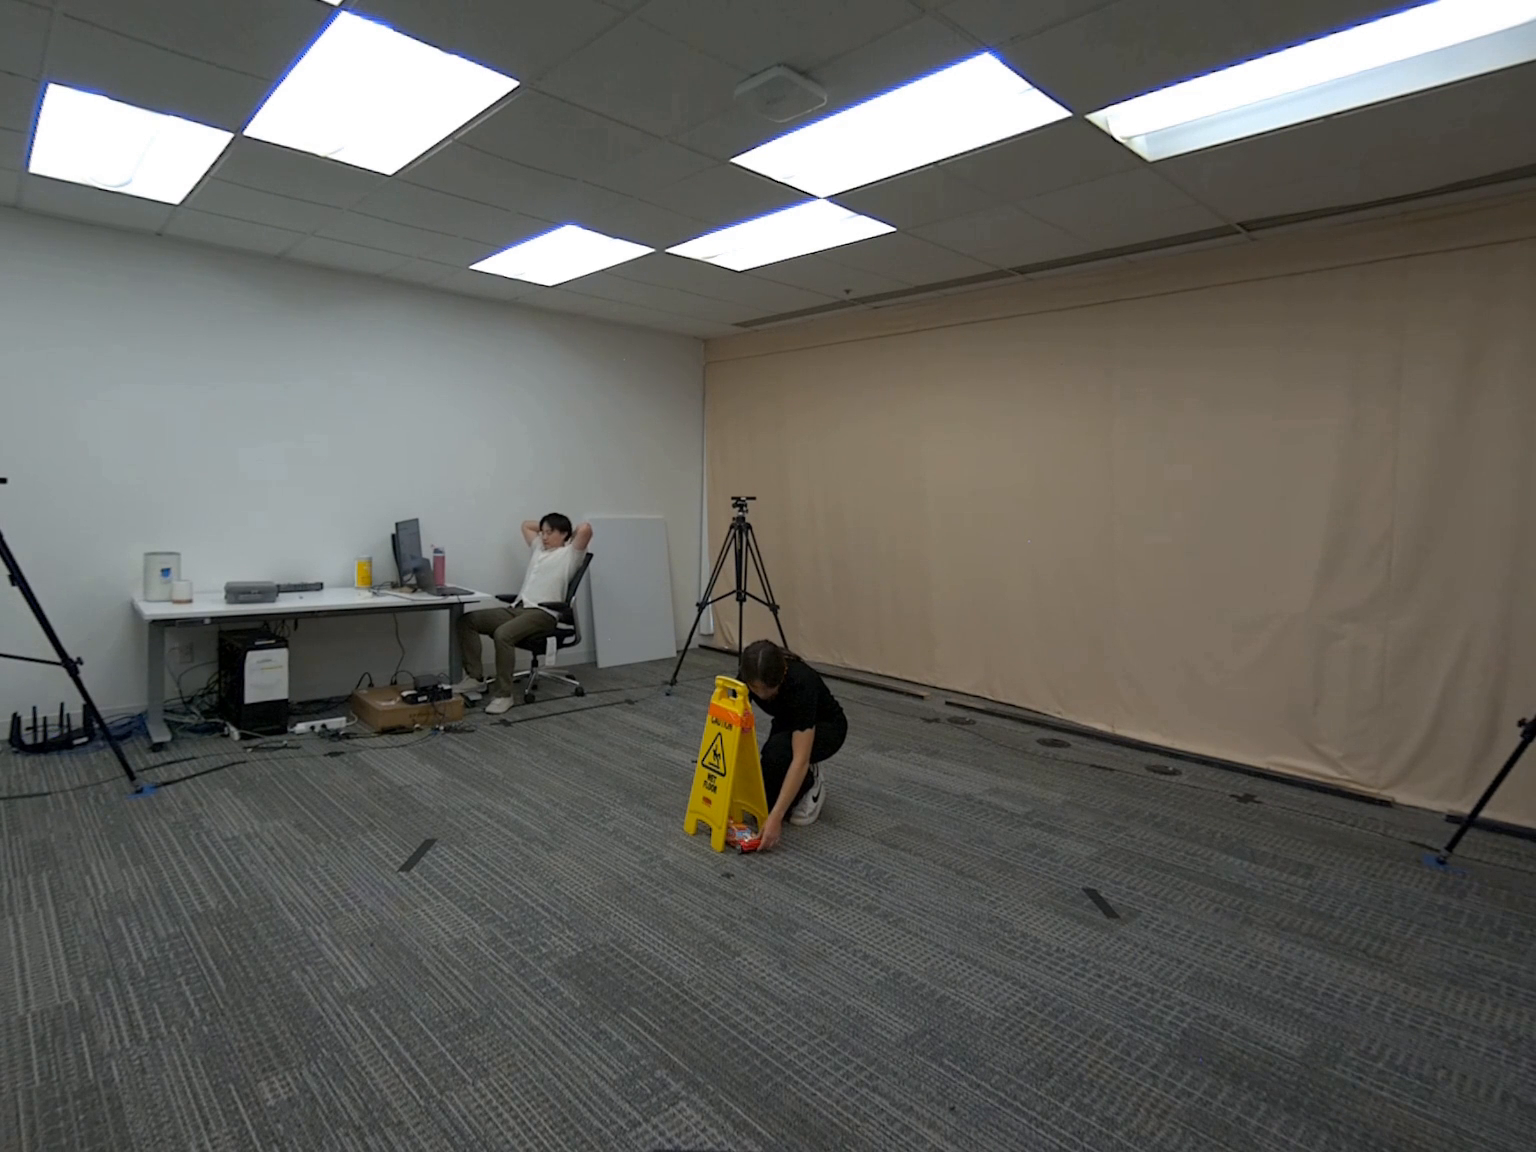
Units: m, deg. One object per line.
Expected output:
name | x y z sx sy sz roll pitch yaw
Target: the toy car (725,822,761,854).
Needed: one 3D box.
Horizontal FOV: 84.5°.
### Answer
toy car | -0.137 1.045 3.418 0.128 0.082 0.262 -5 15 -33
